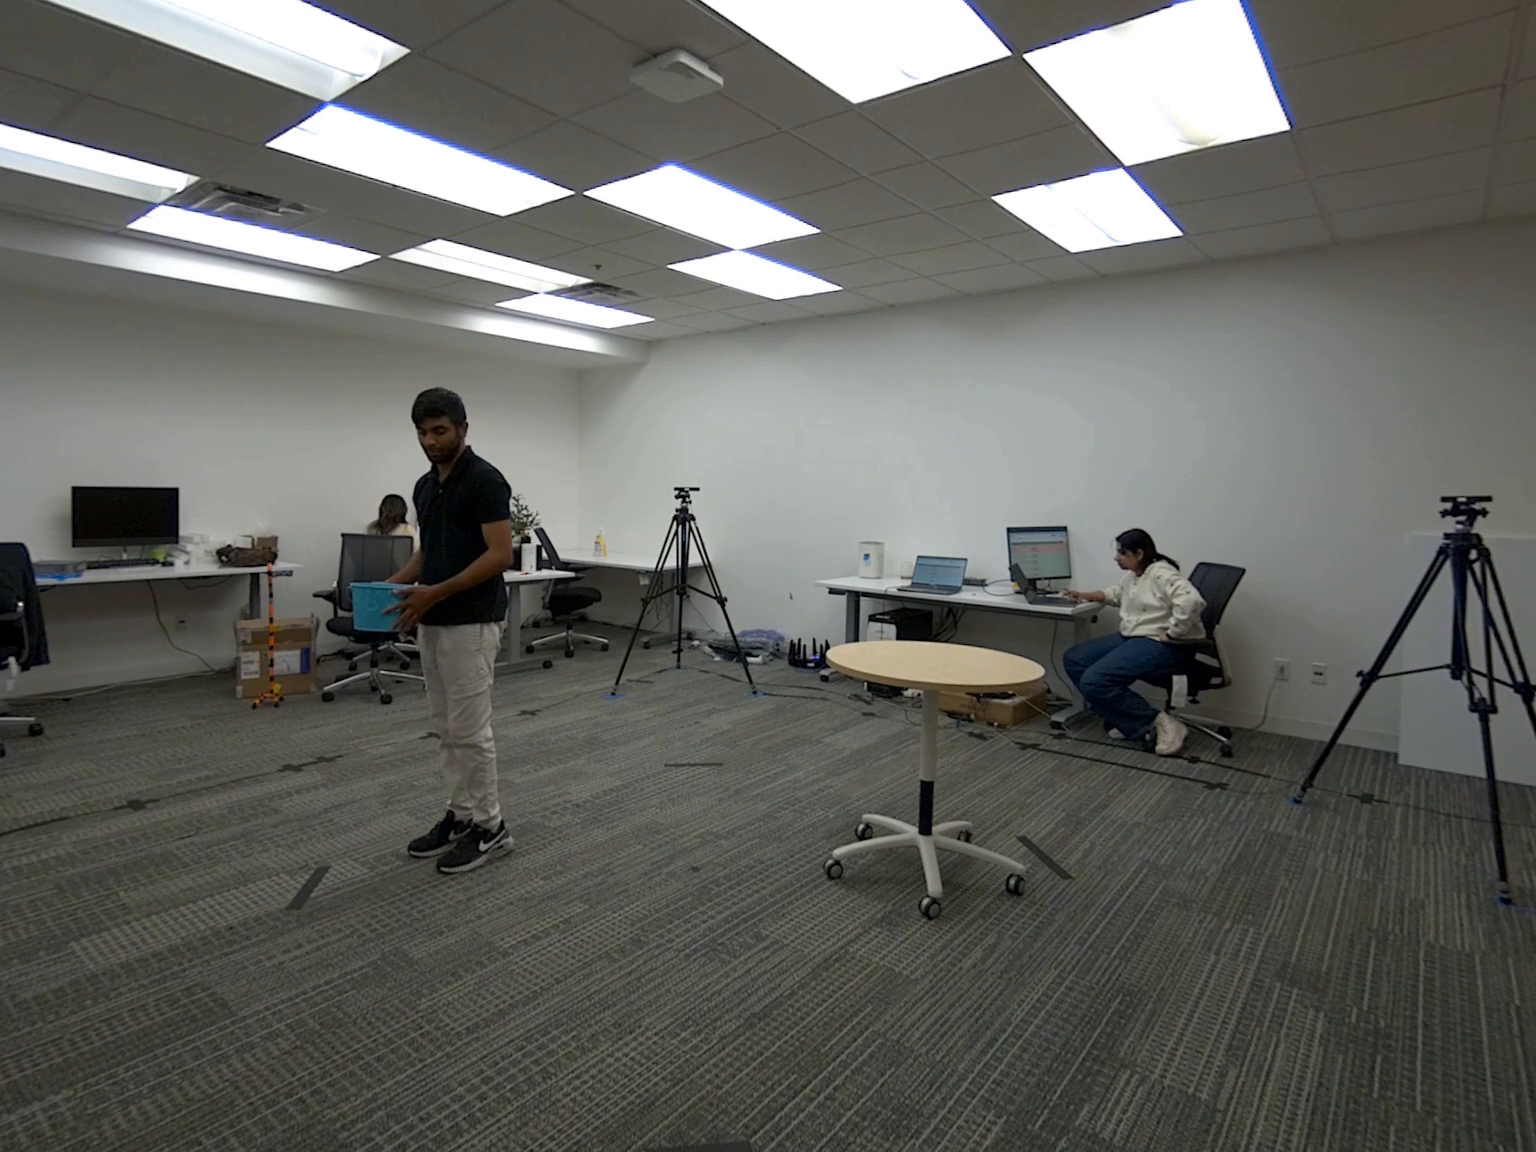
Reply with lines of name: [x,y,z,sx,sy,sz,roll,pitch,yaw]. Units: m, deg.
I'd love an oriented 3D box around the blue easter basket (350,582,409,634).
blue easter basket: [-1.376,0.105,2.990,0.243,0.156,0.244,3,1,-2]
